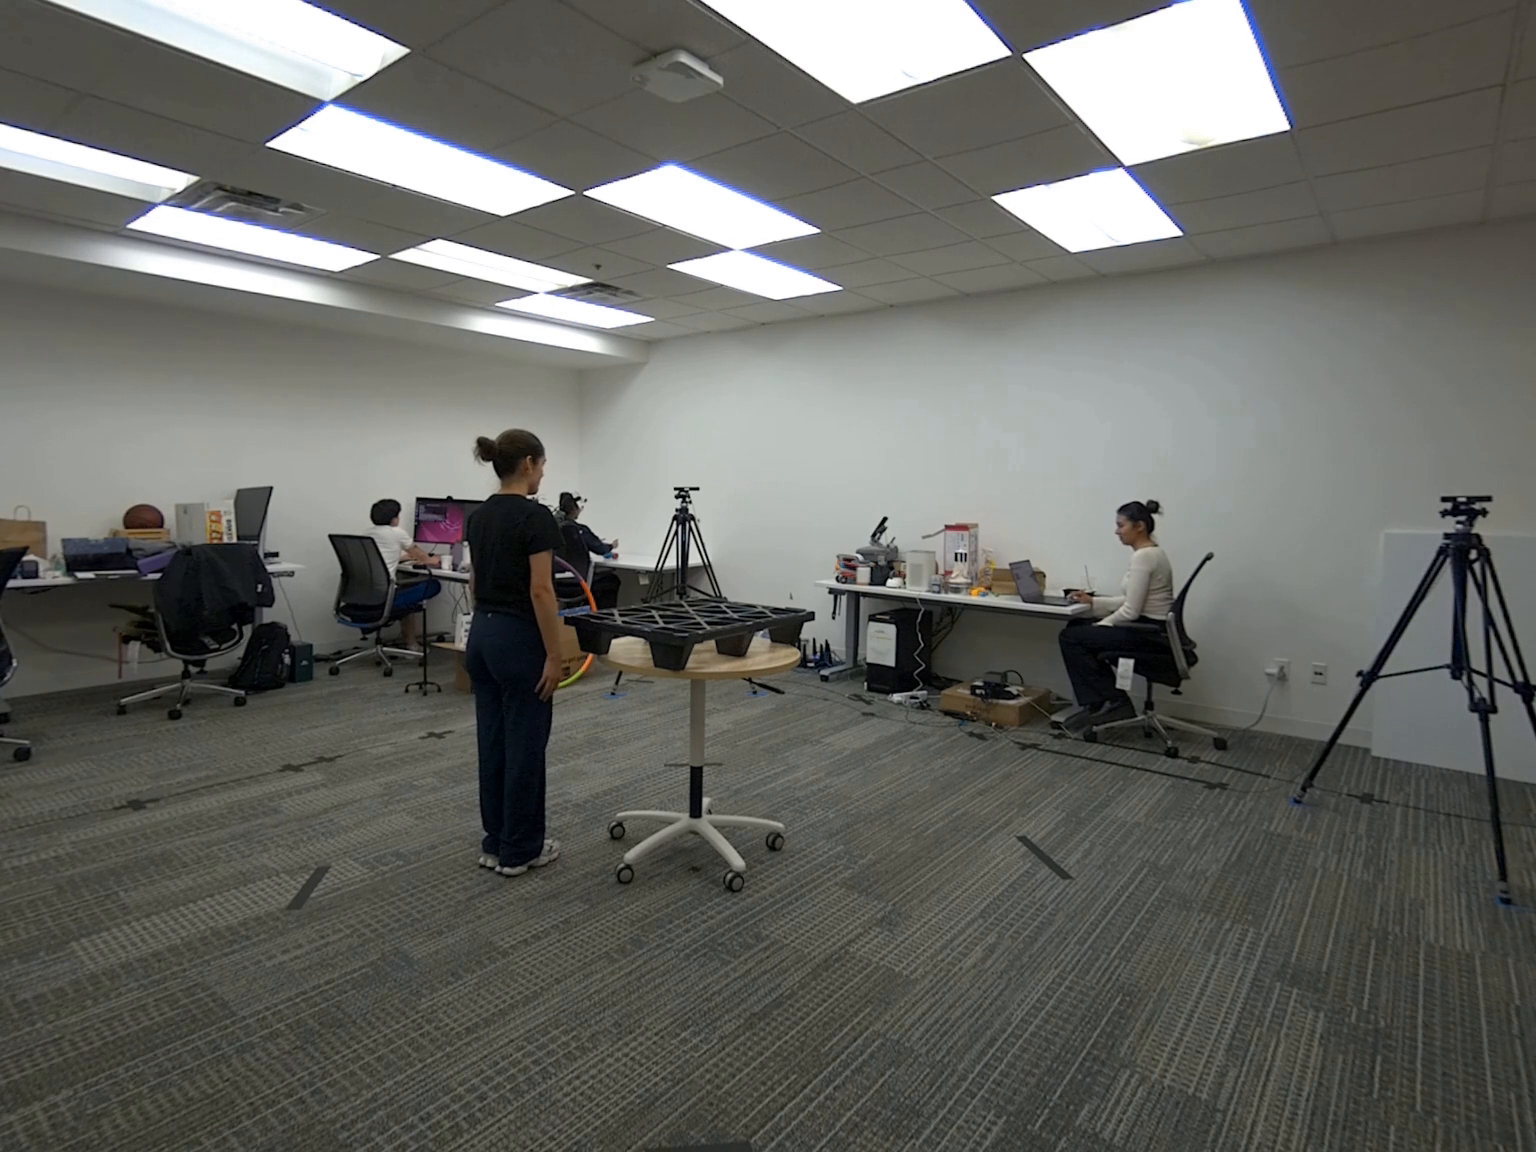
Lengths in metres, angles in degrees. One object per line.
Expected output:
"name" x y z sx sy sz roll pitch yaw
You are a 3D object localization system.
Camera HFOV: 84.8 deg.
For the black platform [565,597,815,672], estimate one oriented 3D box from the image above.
"black platform" -0.278 0.207 3.258 0.625 0.143 0.782 6 8 38
